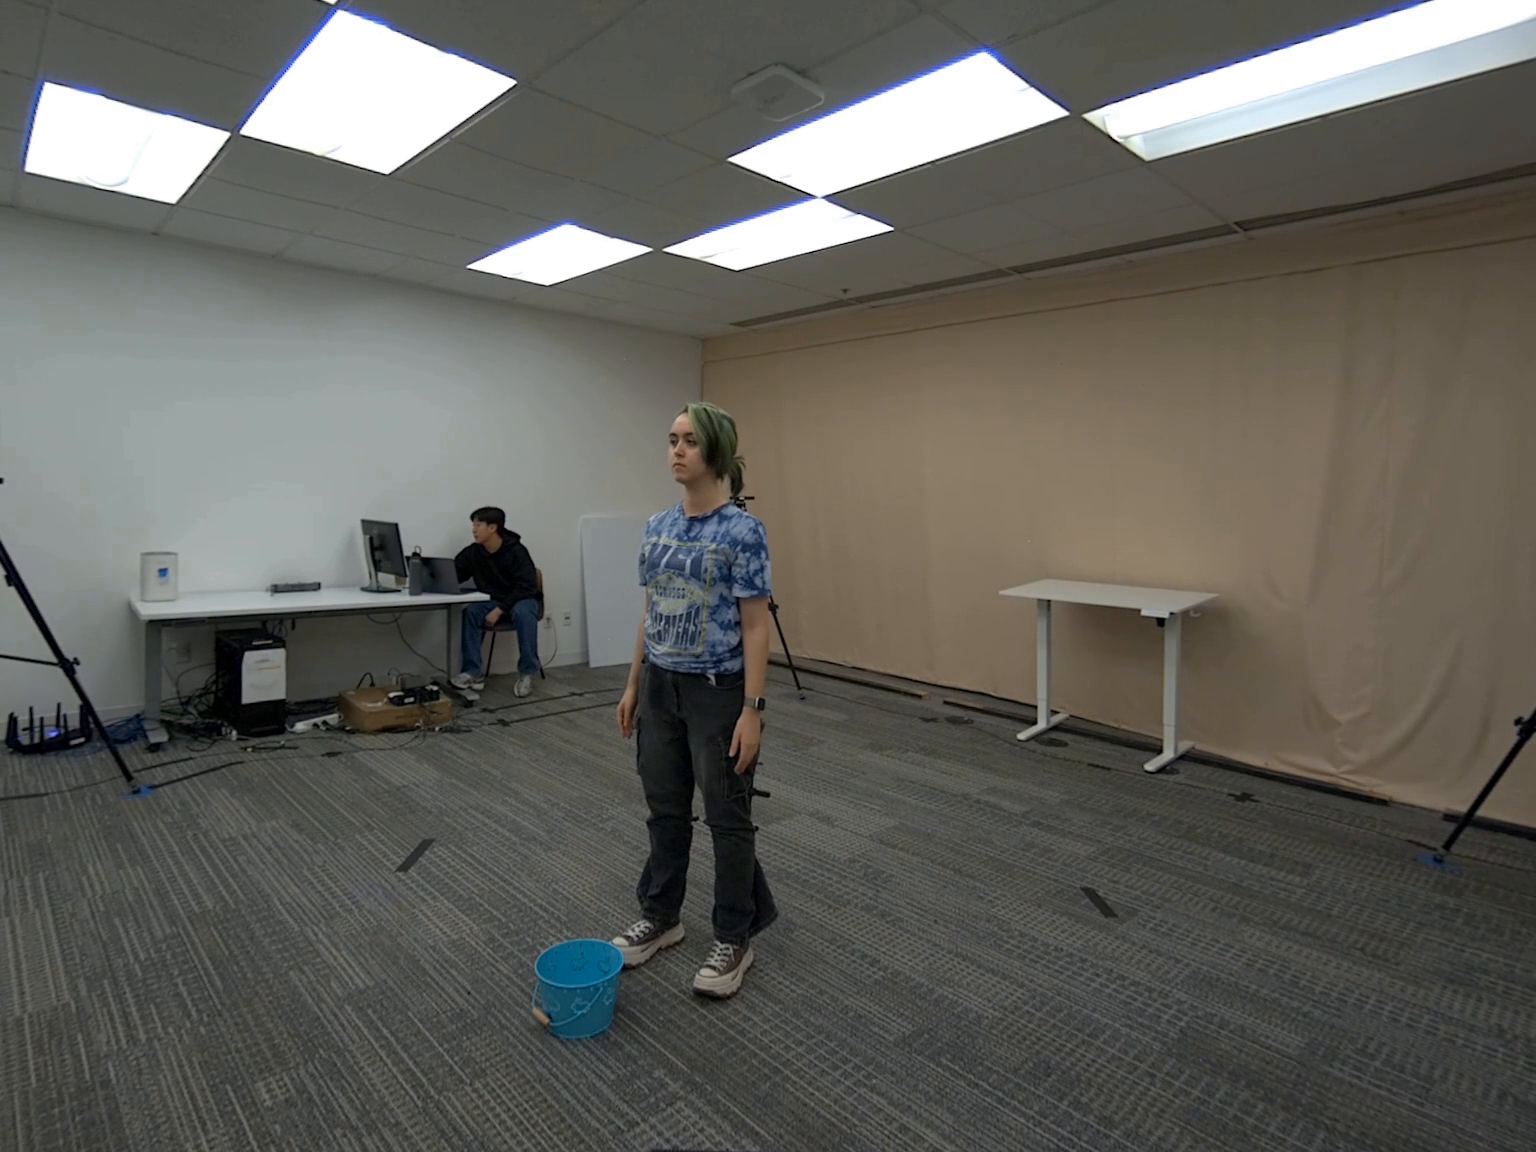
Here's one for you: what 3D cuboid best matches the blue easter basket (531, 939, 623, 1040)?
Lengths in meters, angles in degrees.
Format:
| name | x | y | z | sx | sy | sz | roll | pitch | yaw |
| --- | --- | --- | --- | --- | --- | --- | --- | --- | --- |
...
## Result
| name | x | y | z | sx | sy | sz | roll | pitch | yaw |
| --- | --- | --- | --- | --- | --- | --- | --- | --- | --- |
| blue easter basket | -0.513 | 1.099 | 2.231 | 0.243 | 0.155 | 0.244 | 2 | 3 | -1 |
